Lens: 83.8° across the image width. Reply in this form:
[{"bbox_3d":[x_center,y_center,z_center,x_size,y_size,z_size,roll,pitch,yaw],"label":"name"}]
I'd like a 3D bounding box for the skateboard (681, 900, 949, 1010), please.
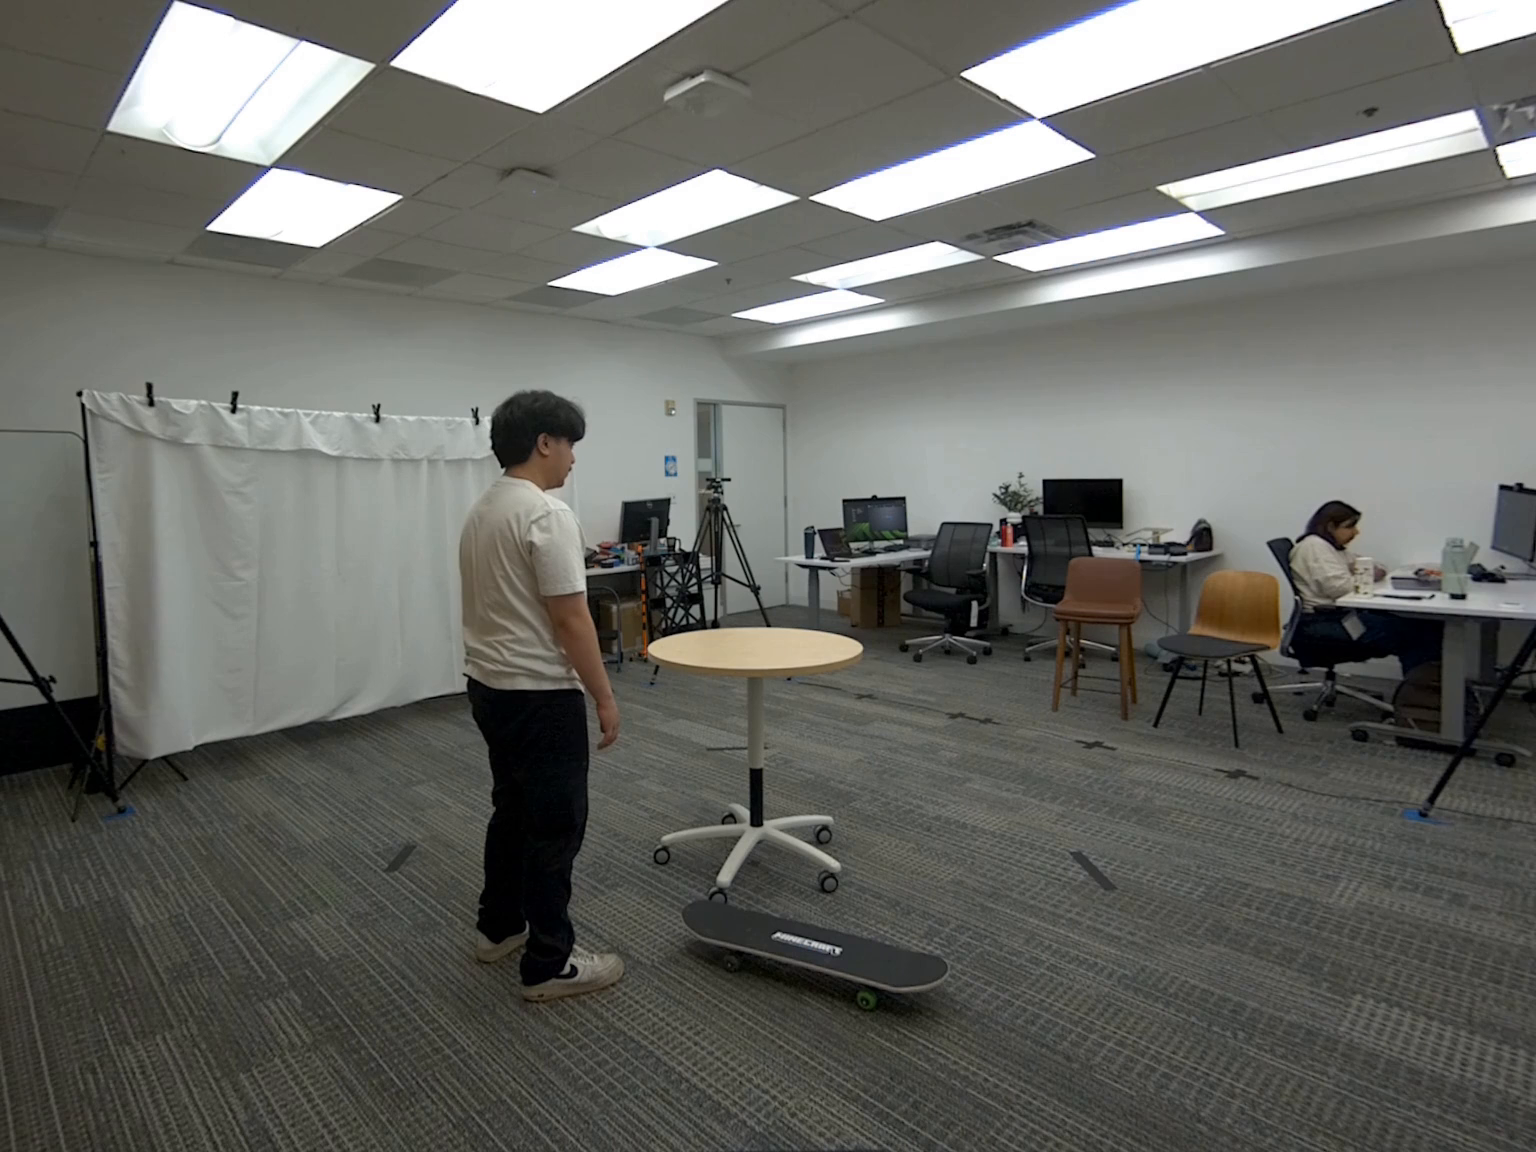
[{"bbox_3d":[0.110,1.062,2.405,0.805,0.110,0.190,2,7,27],"label":"skateboard"}]
